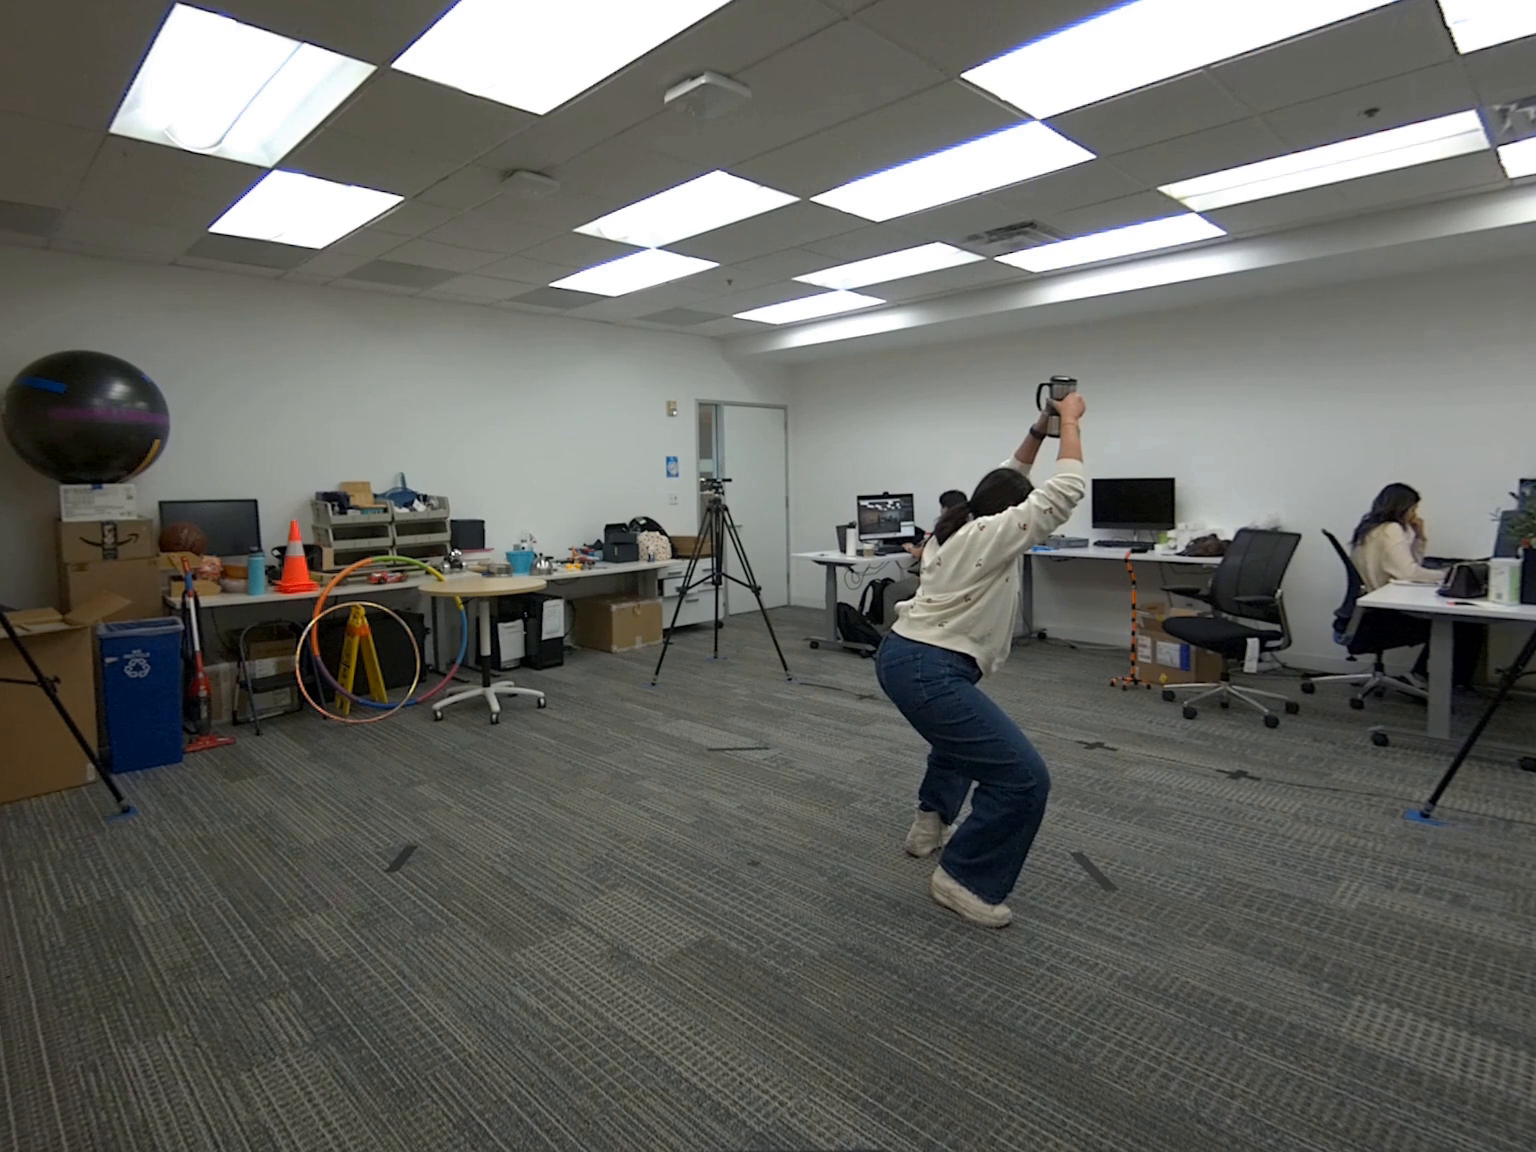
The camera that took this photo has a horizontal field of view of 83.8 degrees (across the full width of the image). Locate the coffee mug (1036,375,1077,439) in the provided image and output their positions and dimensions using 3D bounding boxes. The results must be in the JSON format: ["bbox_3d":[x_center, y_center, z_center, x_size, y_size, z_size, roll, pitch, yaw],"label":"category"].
[{"bbox_3d":[1.017,-0.576,2.902,0.121,0.200,0.090,-7,15,-12],"label":"coffee mug"}]
